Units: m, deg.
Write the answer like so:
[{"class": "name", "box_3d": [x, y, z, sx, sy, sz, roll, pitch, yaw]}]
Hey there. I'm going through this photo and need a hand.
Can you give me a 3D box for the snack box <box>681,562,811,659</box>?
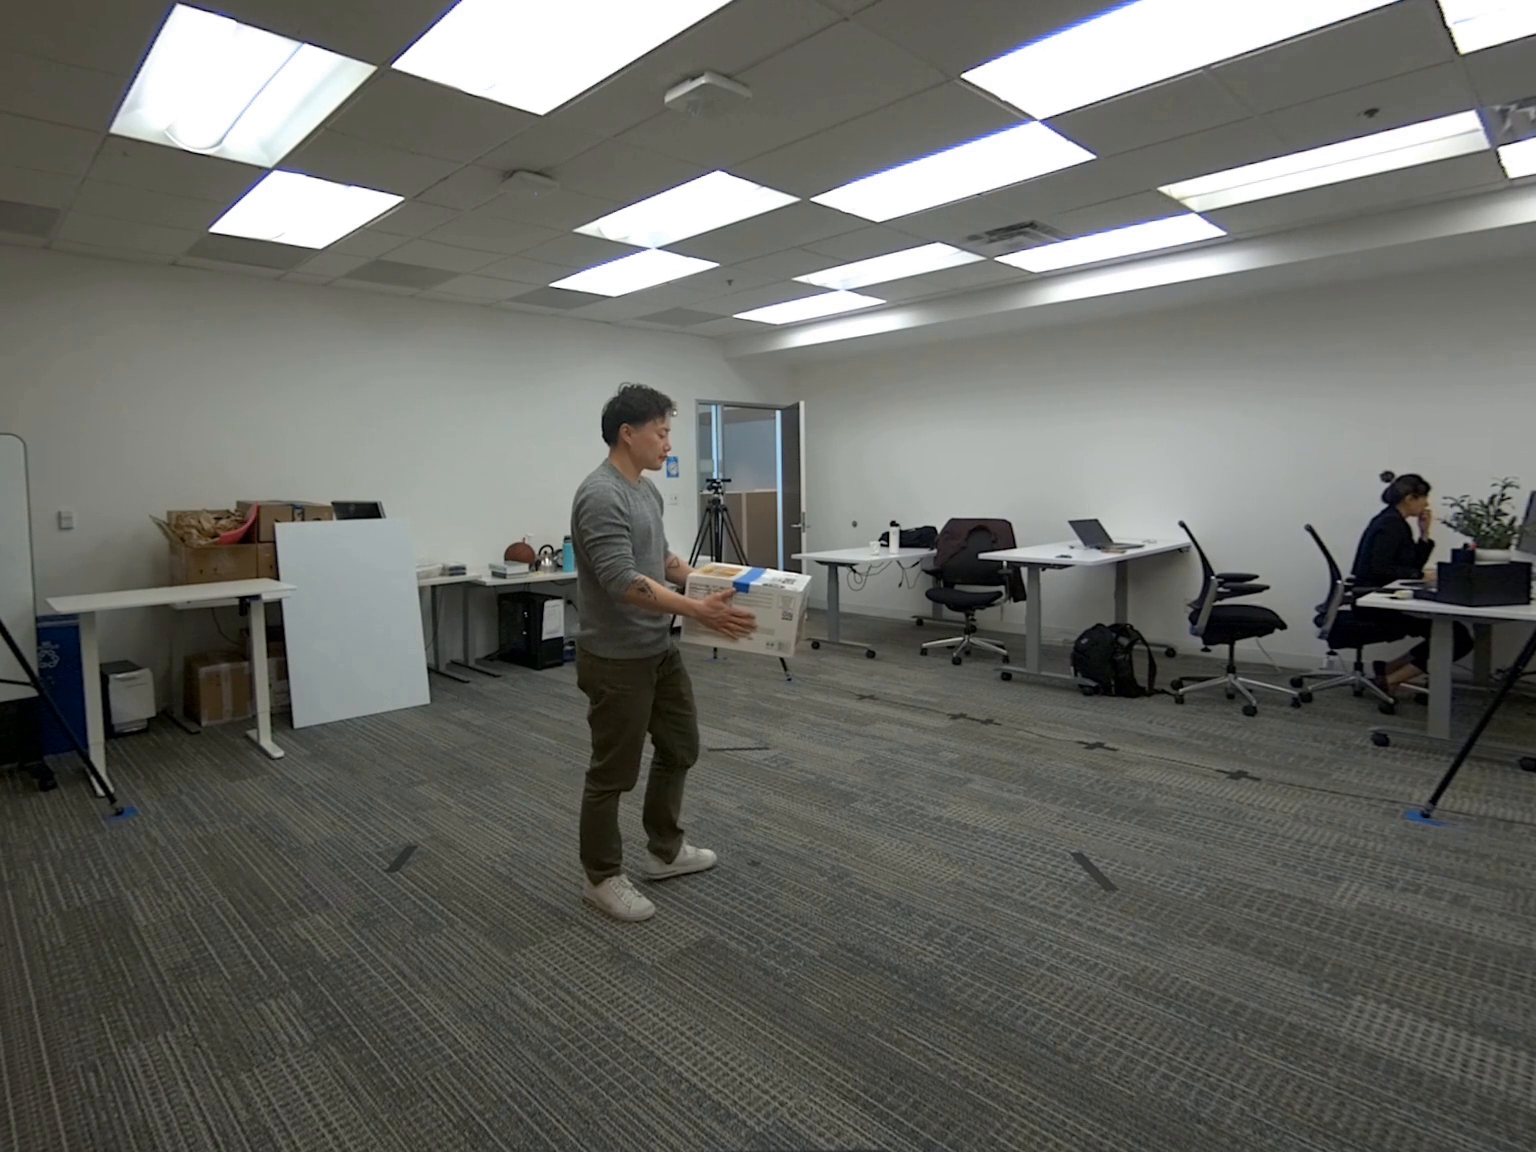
[{"class": "snack box", "box_3d": [-0.055, 0.099, 2.677, 0.344, 0.205, 0.403, 7, 6, 8]}]
